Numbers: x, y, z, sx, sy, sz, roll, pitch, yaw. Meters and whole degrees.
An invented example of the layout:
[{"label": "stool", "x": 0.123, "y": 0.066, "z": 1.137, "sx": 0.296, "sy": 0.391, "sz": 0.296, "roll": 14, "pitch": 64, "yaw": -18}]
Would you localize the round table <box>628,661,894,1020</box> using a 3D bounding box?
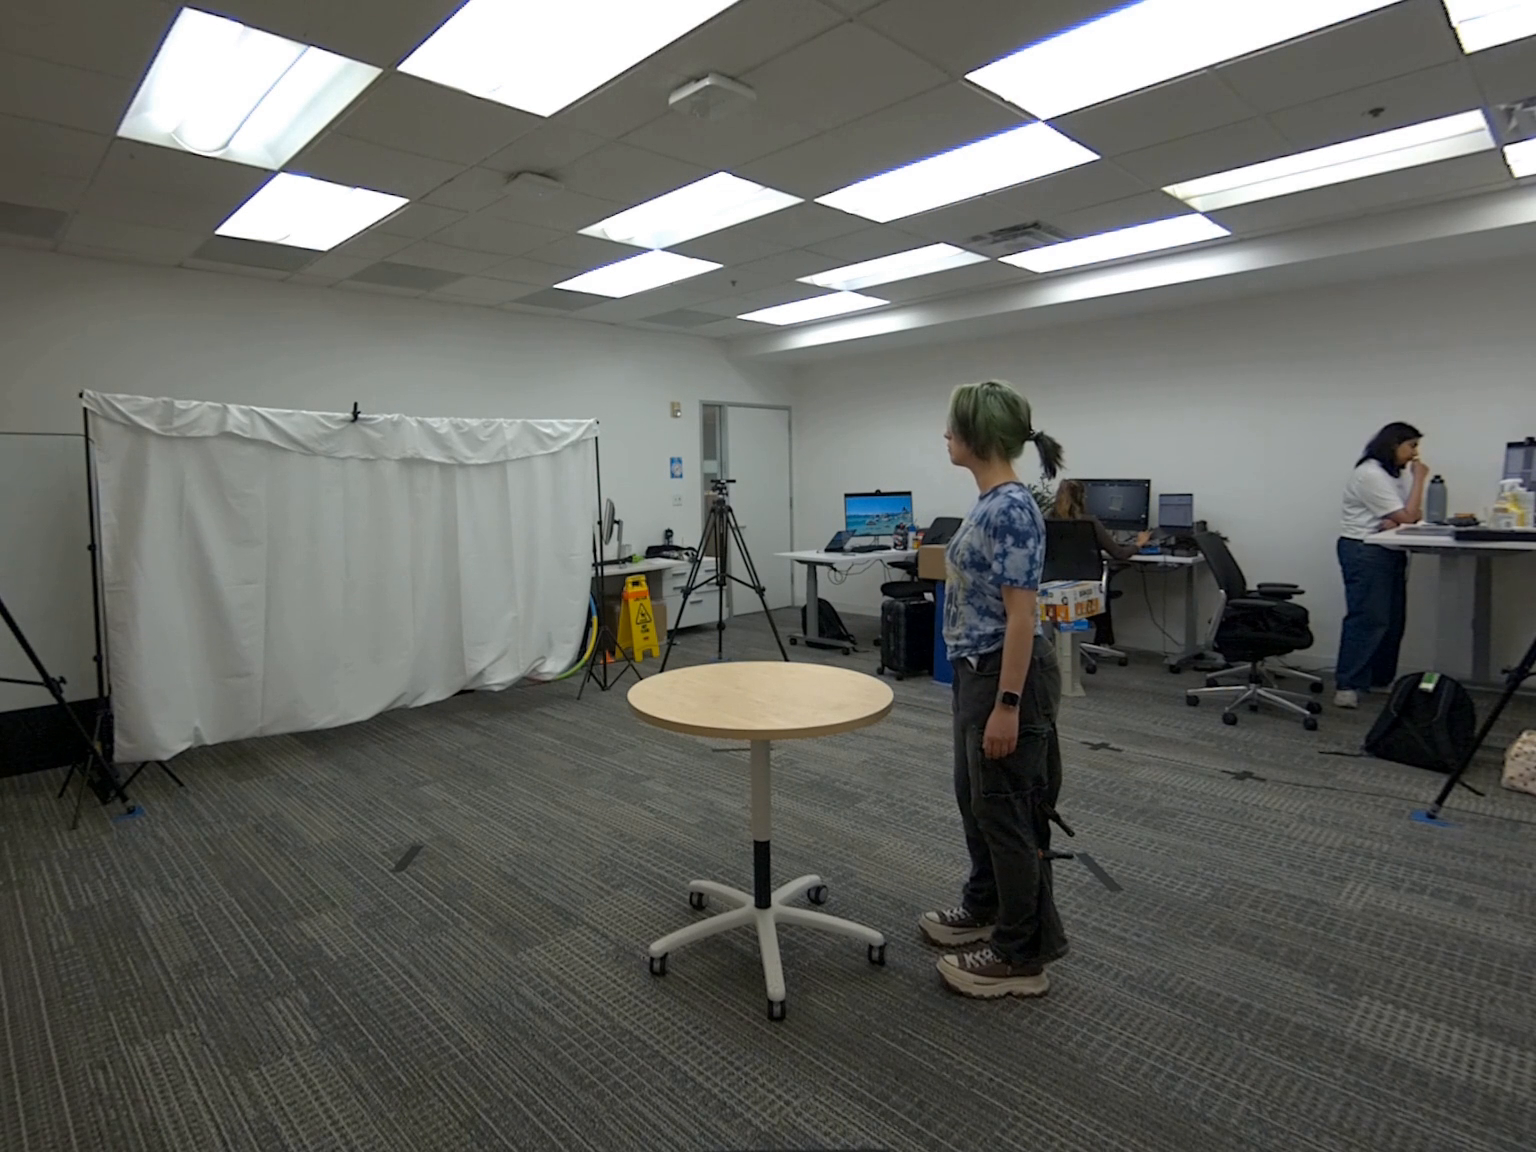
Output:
[{"label": "round table", "x": -0.012, "y": 0.728, "z": 2.507, "sx": 0.763, "sy": 0.791, "sz": 0.768, "roll": -1, "pitch": 5, "yaw": -2}]
